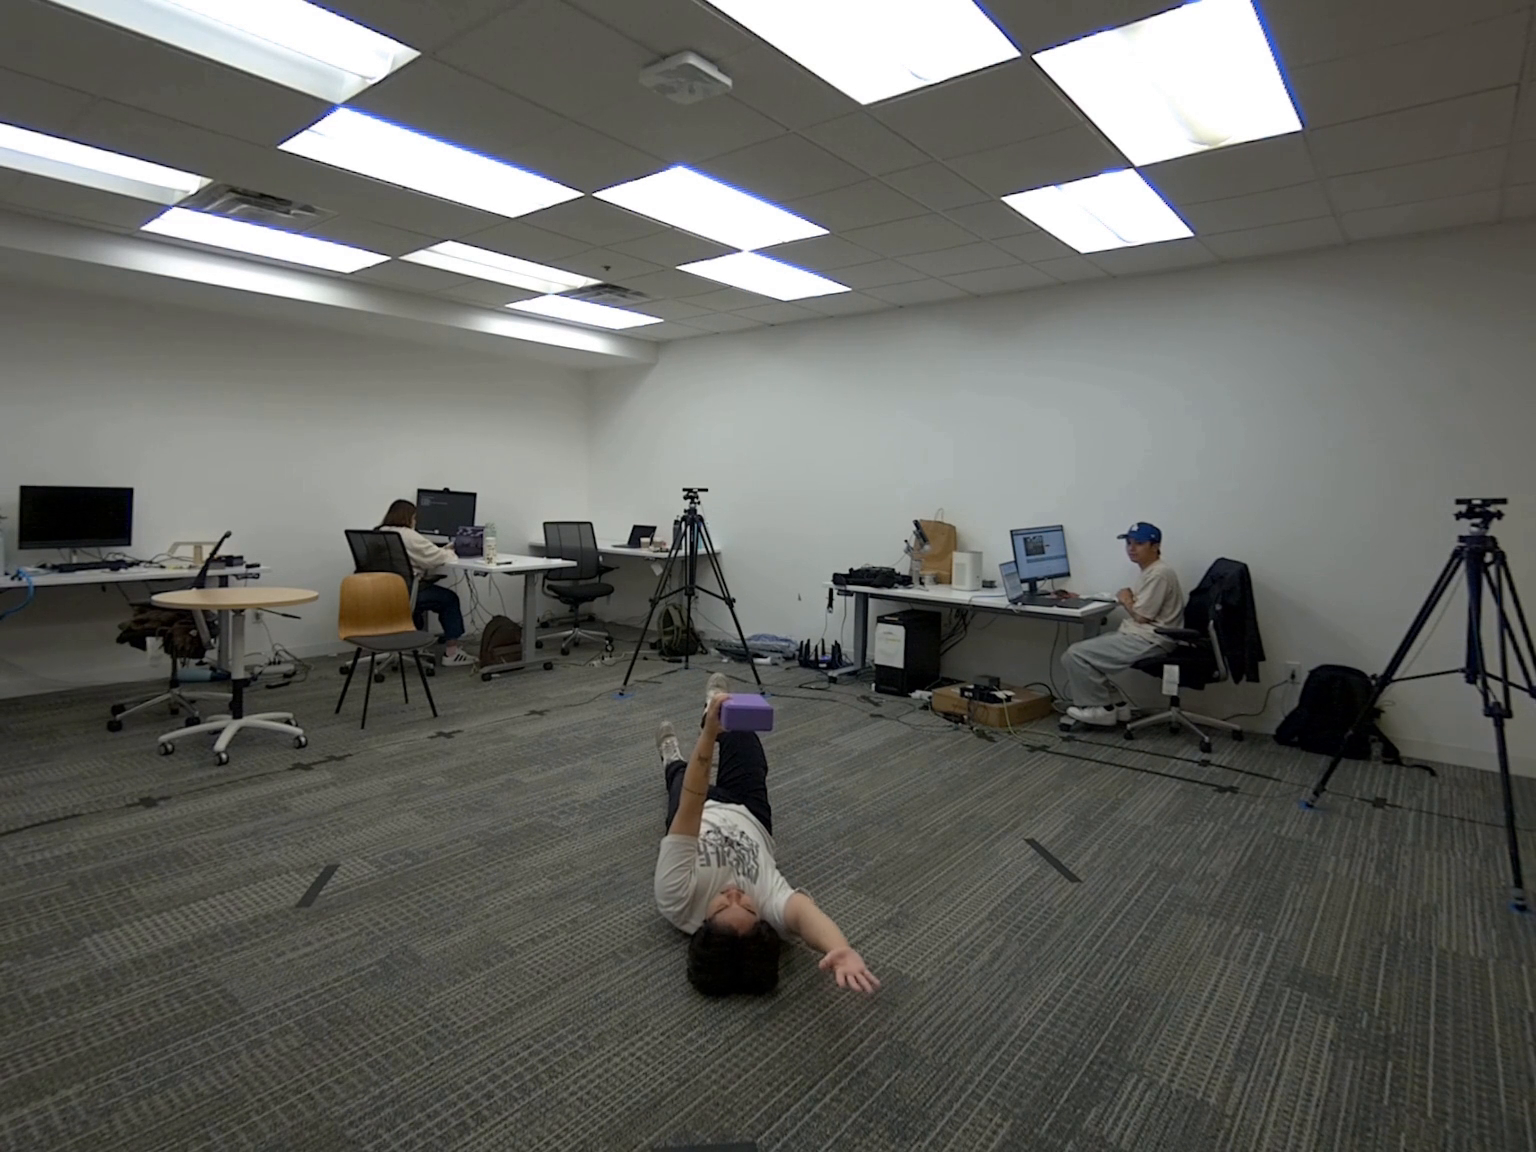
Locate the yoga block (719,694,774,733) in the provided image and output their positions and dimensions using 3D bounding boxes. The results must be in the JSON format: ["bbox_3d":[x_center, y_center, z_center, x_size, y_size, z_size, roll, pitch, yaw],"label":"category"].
[{"bbox_3d":[-0.081,0.418,2.620,0.148,0.076,0.230,3,-1,-5],"label":"yoga block"}]
